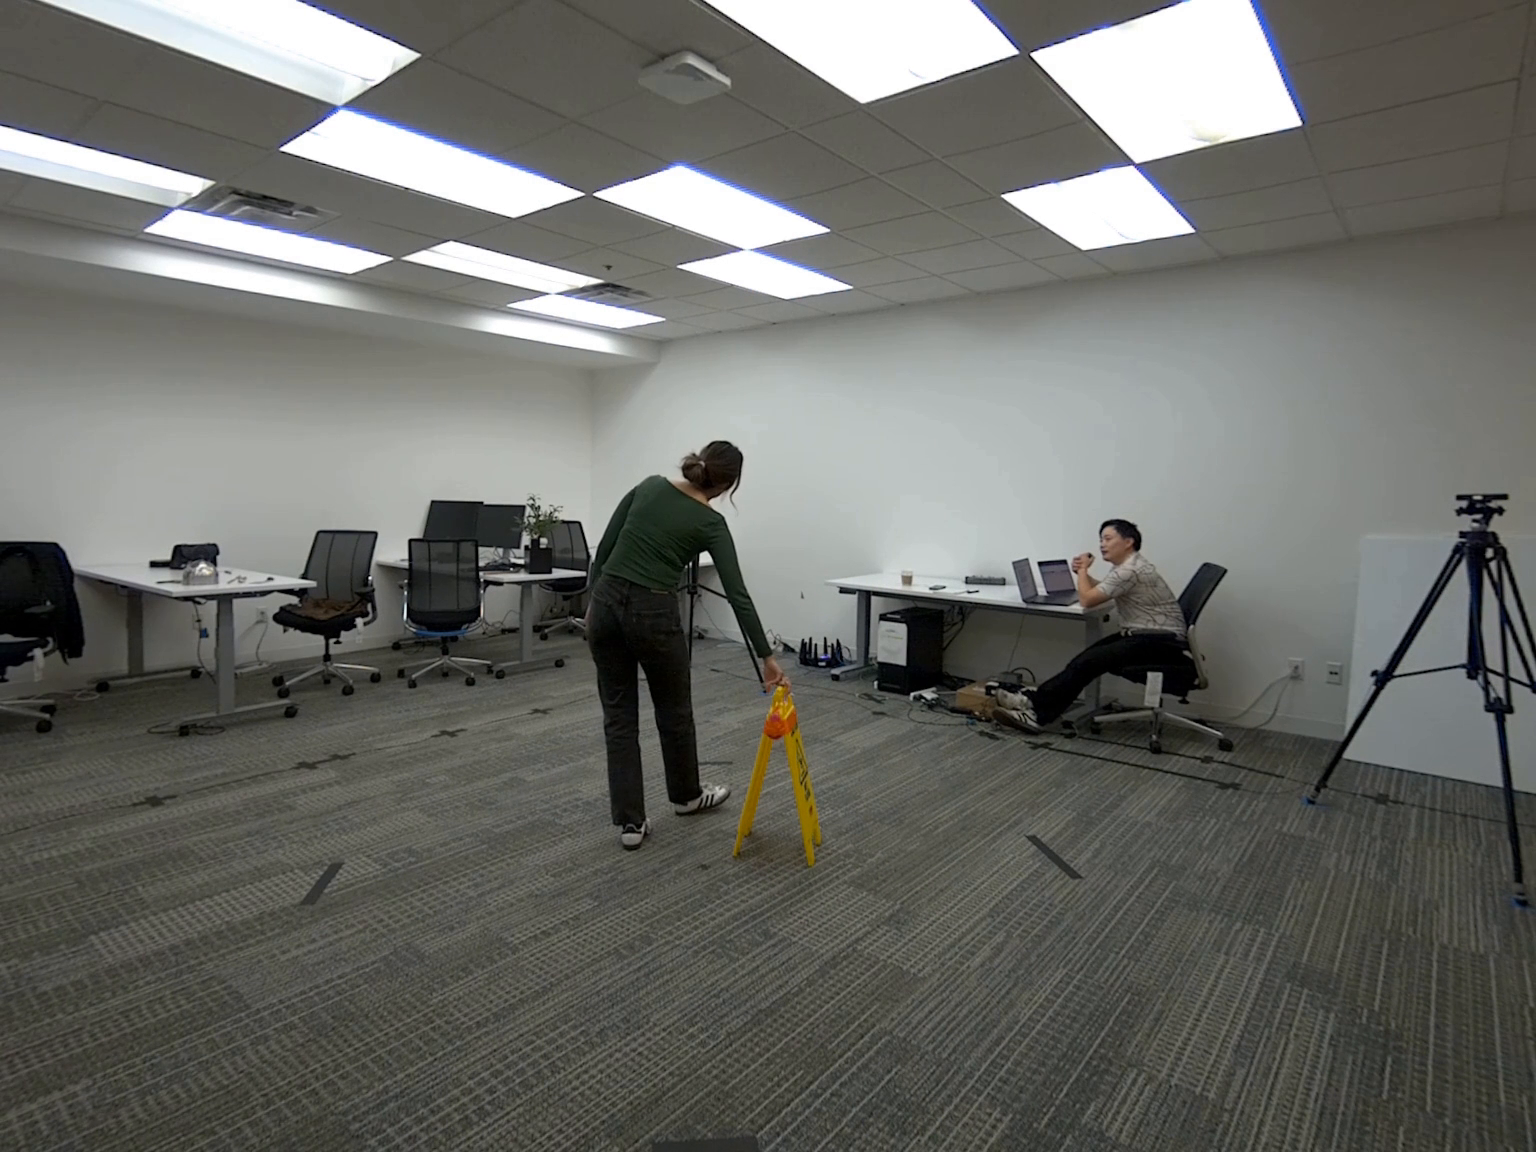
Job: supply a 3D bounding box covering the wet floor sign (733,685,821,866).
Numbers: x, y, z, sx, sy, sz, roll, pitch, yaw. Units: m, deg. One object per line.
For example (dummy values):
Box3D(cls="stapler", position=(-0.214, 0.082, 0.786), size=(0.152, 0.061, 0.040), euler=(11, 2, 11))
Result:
Box3D(cls="wet floor sign", position=(0.035, 0.729, 3.284), size=(0.294, 0.645, 0.278), euler=(1, 2, 13))
